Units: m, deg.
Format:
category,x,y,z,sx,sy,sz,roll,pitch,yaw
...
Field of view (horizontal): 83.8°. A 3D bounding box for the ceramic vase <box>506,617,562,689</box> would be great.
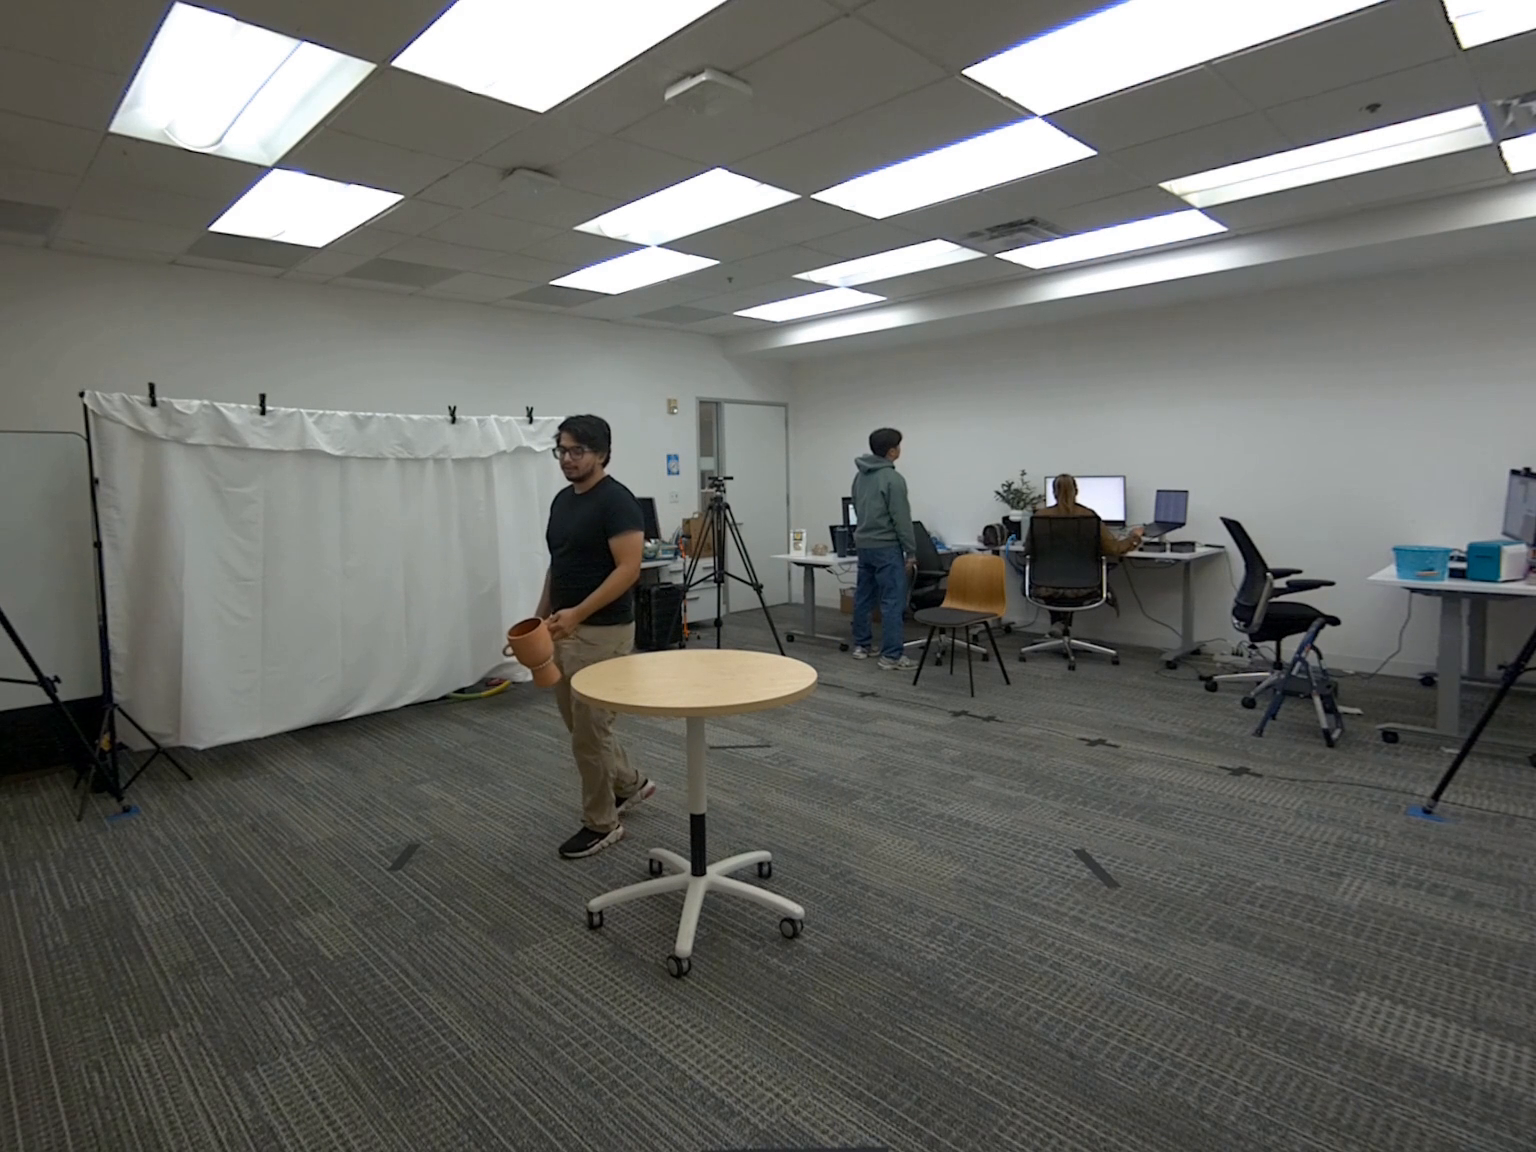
category,x,y,z,sx,sy,sz,roll,pitch,yaw
ceramic vase,-0.802,0.265,2.934,0.161,0.214,0.136,-9,24,14
